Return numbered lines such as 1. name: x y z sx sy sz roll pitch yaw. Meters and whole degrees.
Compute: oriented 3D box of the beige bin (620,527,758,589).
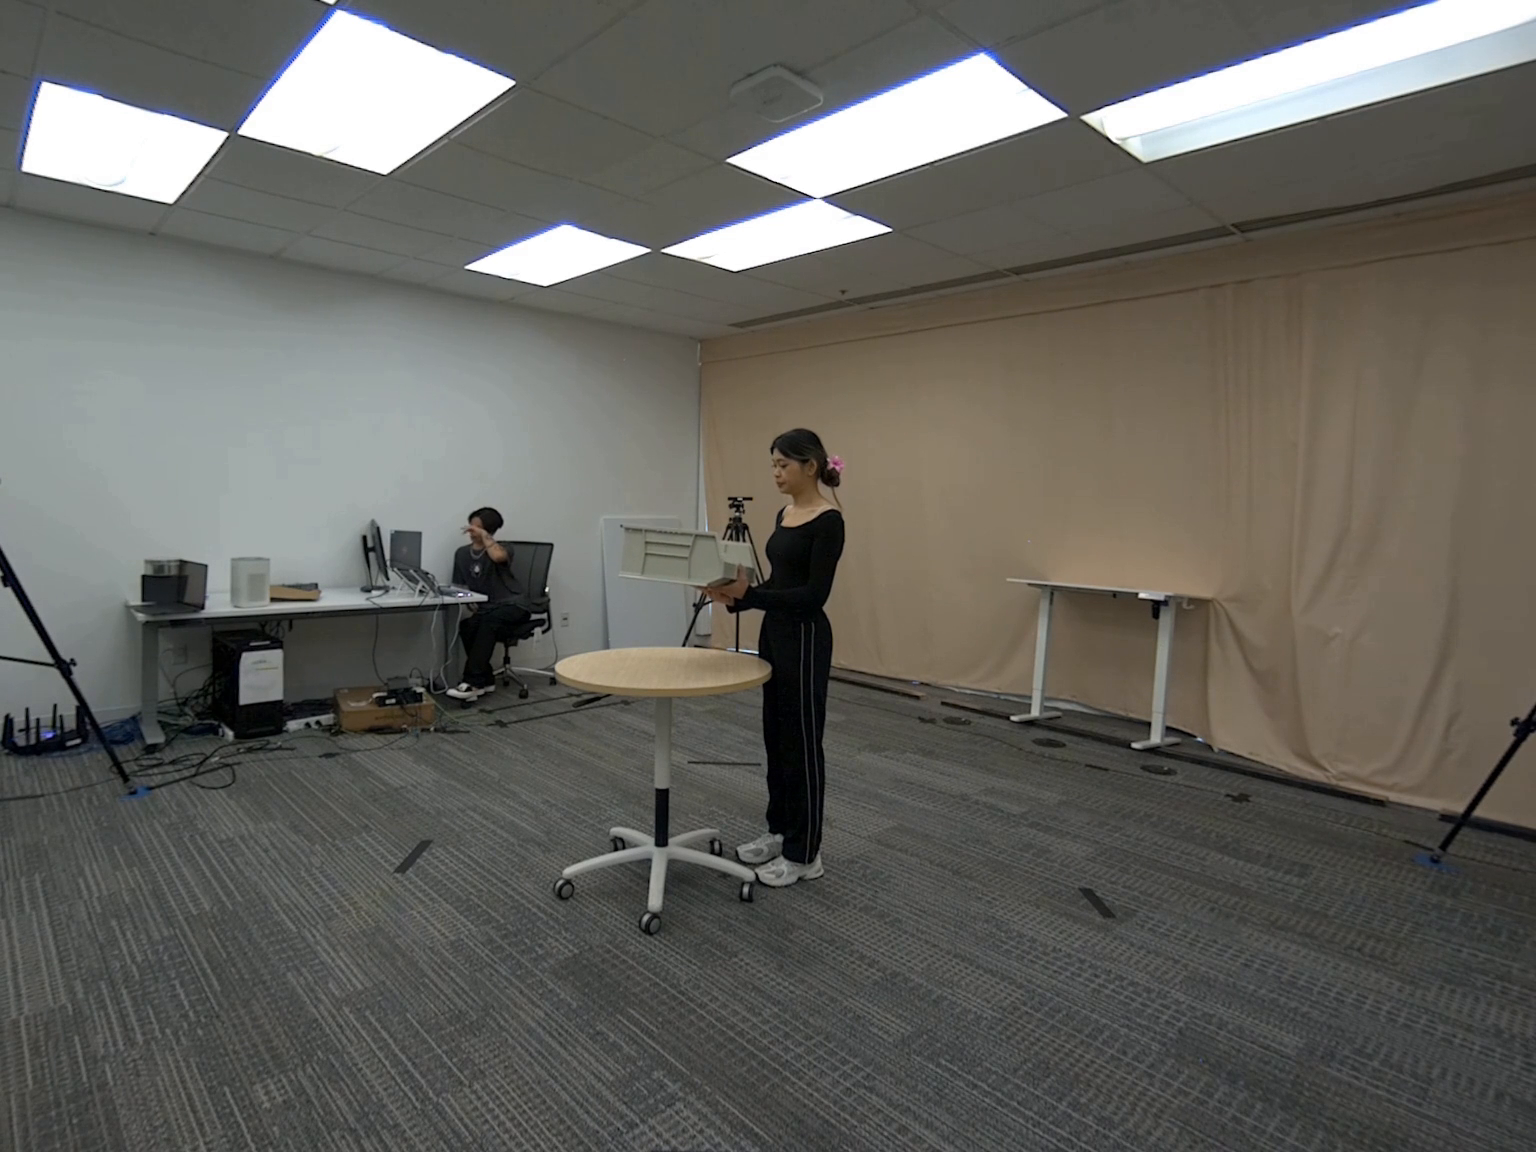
1. beige bin: -0.273 -0.056 2.961 0.382 0.189 0.416 5 -1 15
